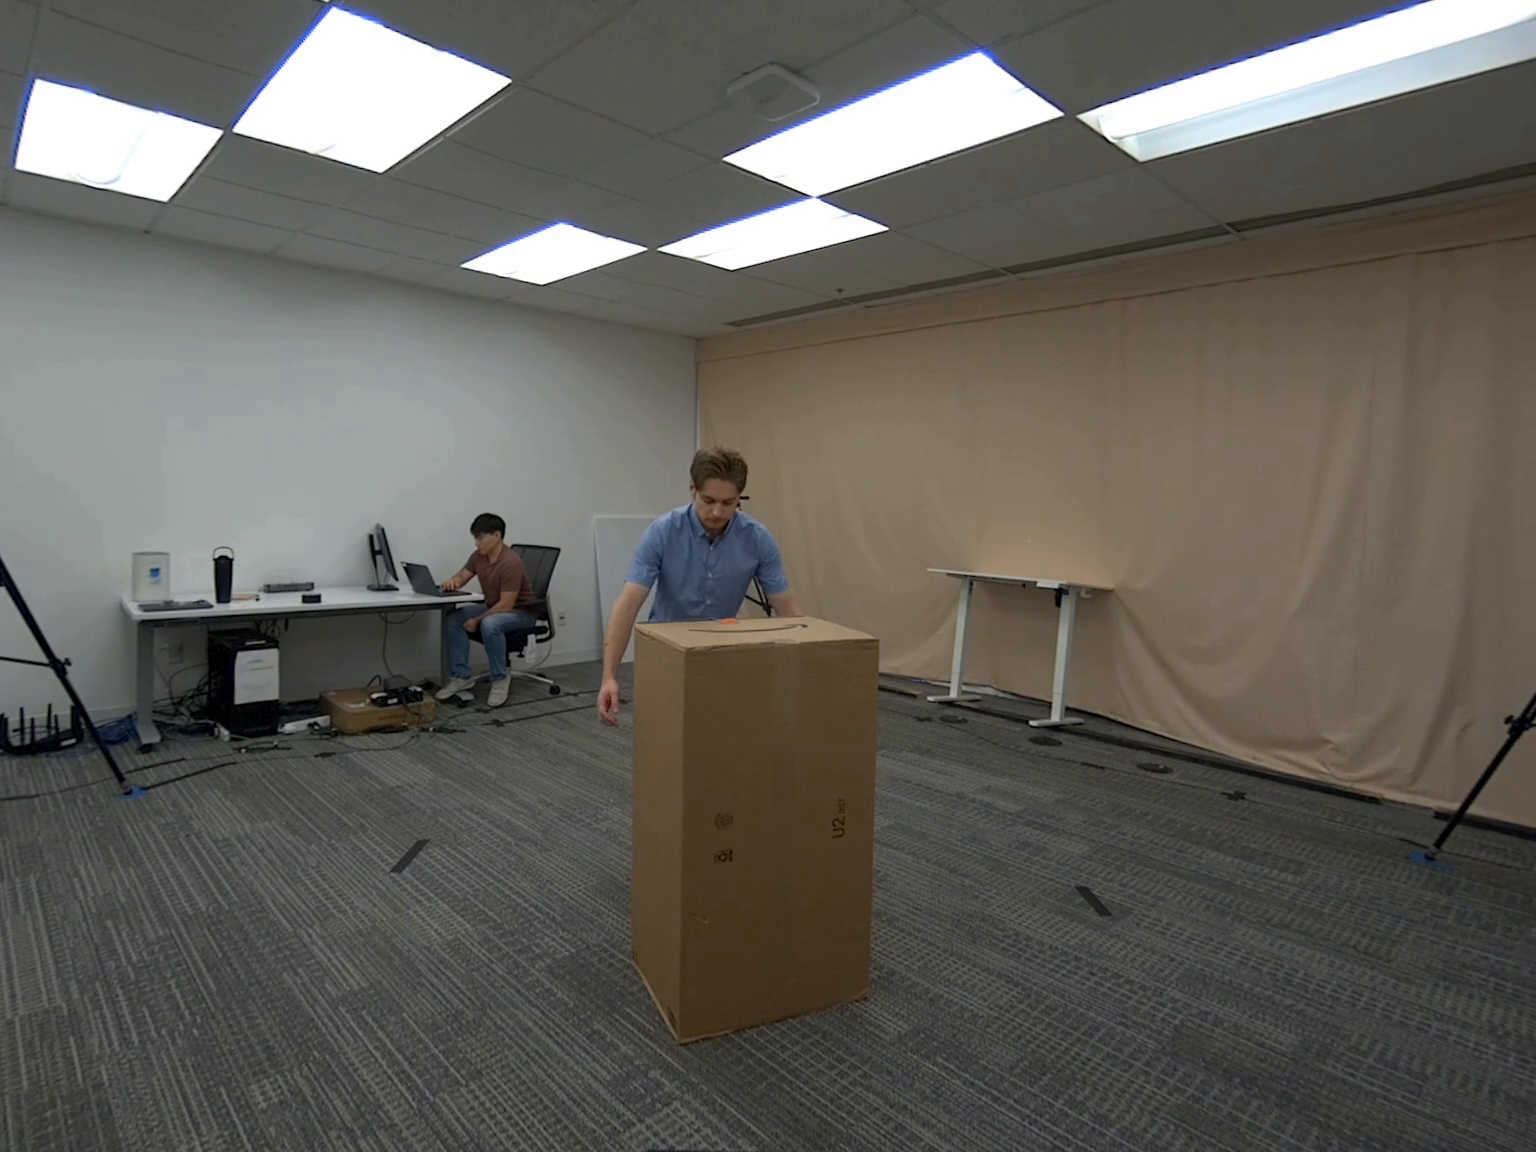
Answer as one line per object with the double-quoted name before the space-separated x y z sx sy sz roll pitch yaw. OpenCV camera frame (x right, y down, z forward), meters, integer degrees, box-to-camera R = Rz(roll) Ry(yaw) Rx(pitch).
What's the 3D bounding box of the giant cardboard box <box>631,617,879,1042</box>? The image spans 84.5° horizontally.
"giant cardboard box" -0.055 0.662 2.406 0.567 1.023 0.435 -1 4 -25
